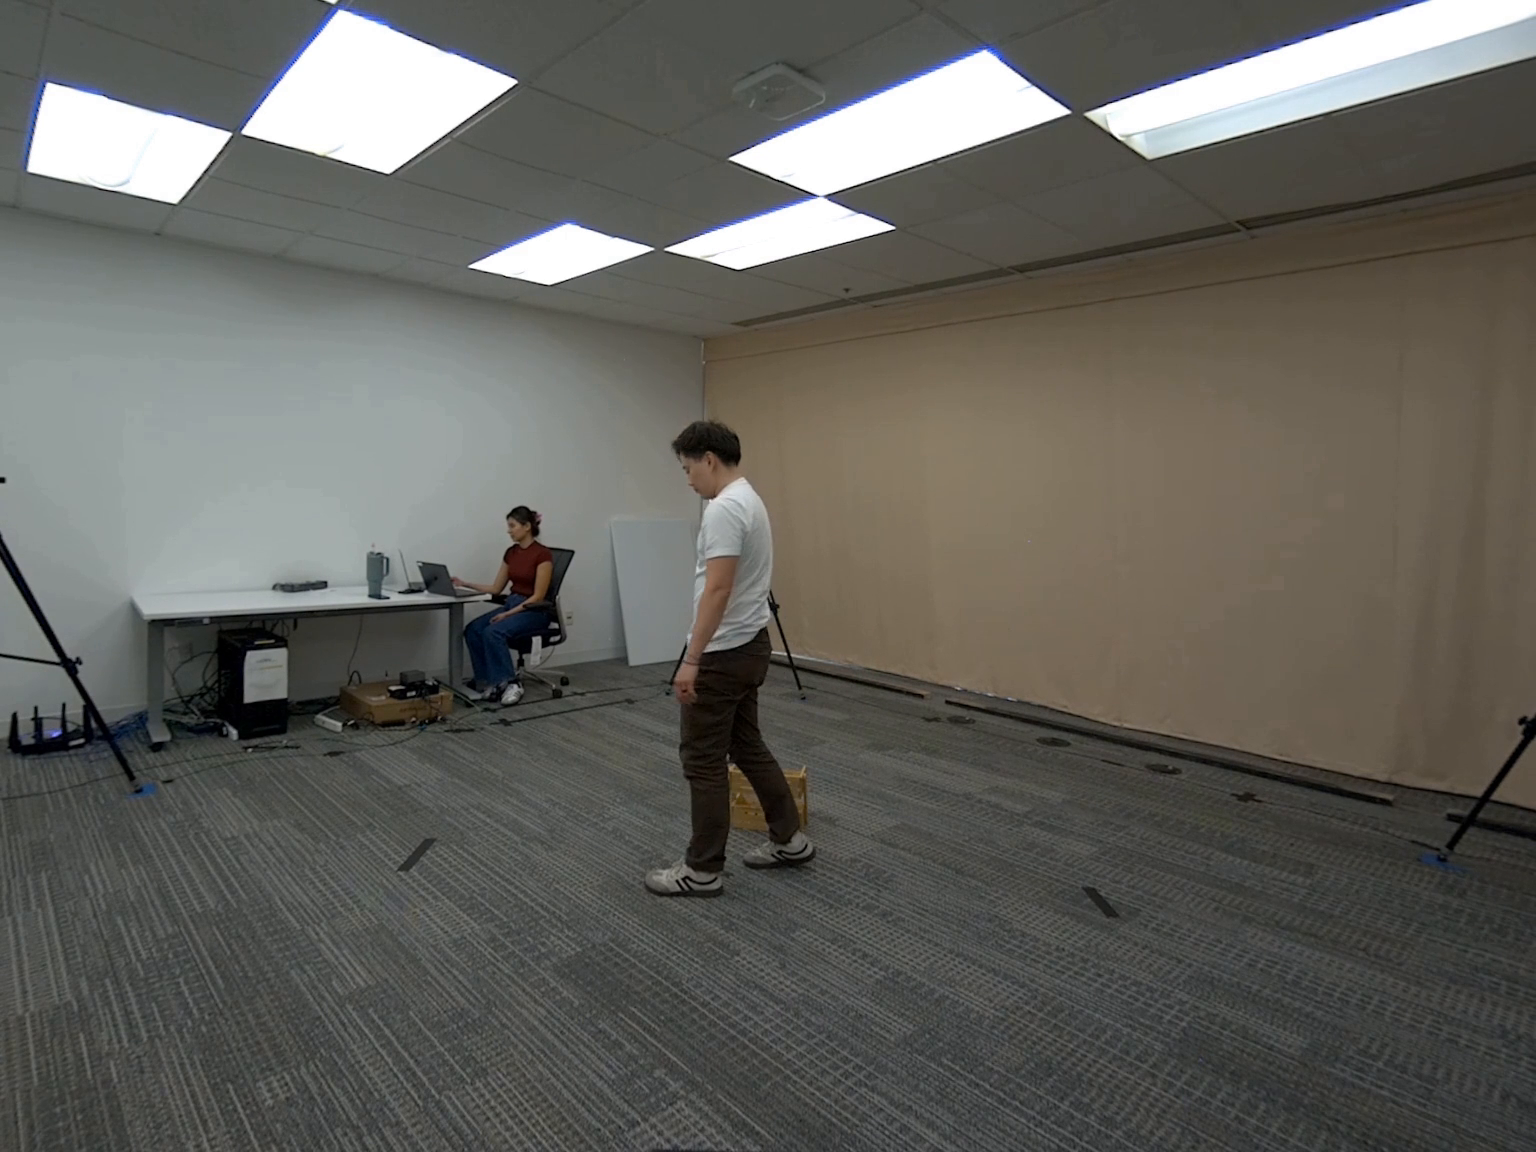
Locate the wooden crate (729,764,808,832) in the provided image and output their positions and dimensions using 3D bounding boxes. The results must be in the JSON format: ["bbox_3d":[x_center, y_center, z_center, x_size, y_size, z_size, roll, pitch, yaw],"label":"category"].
[{"bbox_3d":[0.003,0.930,3.622,0.327,0.272,0.300,2,5,10],"label":"wooden crate"}]
